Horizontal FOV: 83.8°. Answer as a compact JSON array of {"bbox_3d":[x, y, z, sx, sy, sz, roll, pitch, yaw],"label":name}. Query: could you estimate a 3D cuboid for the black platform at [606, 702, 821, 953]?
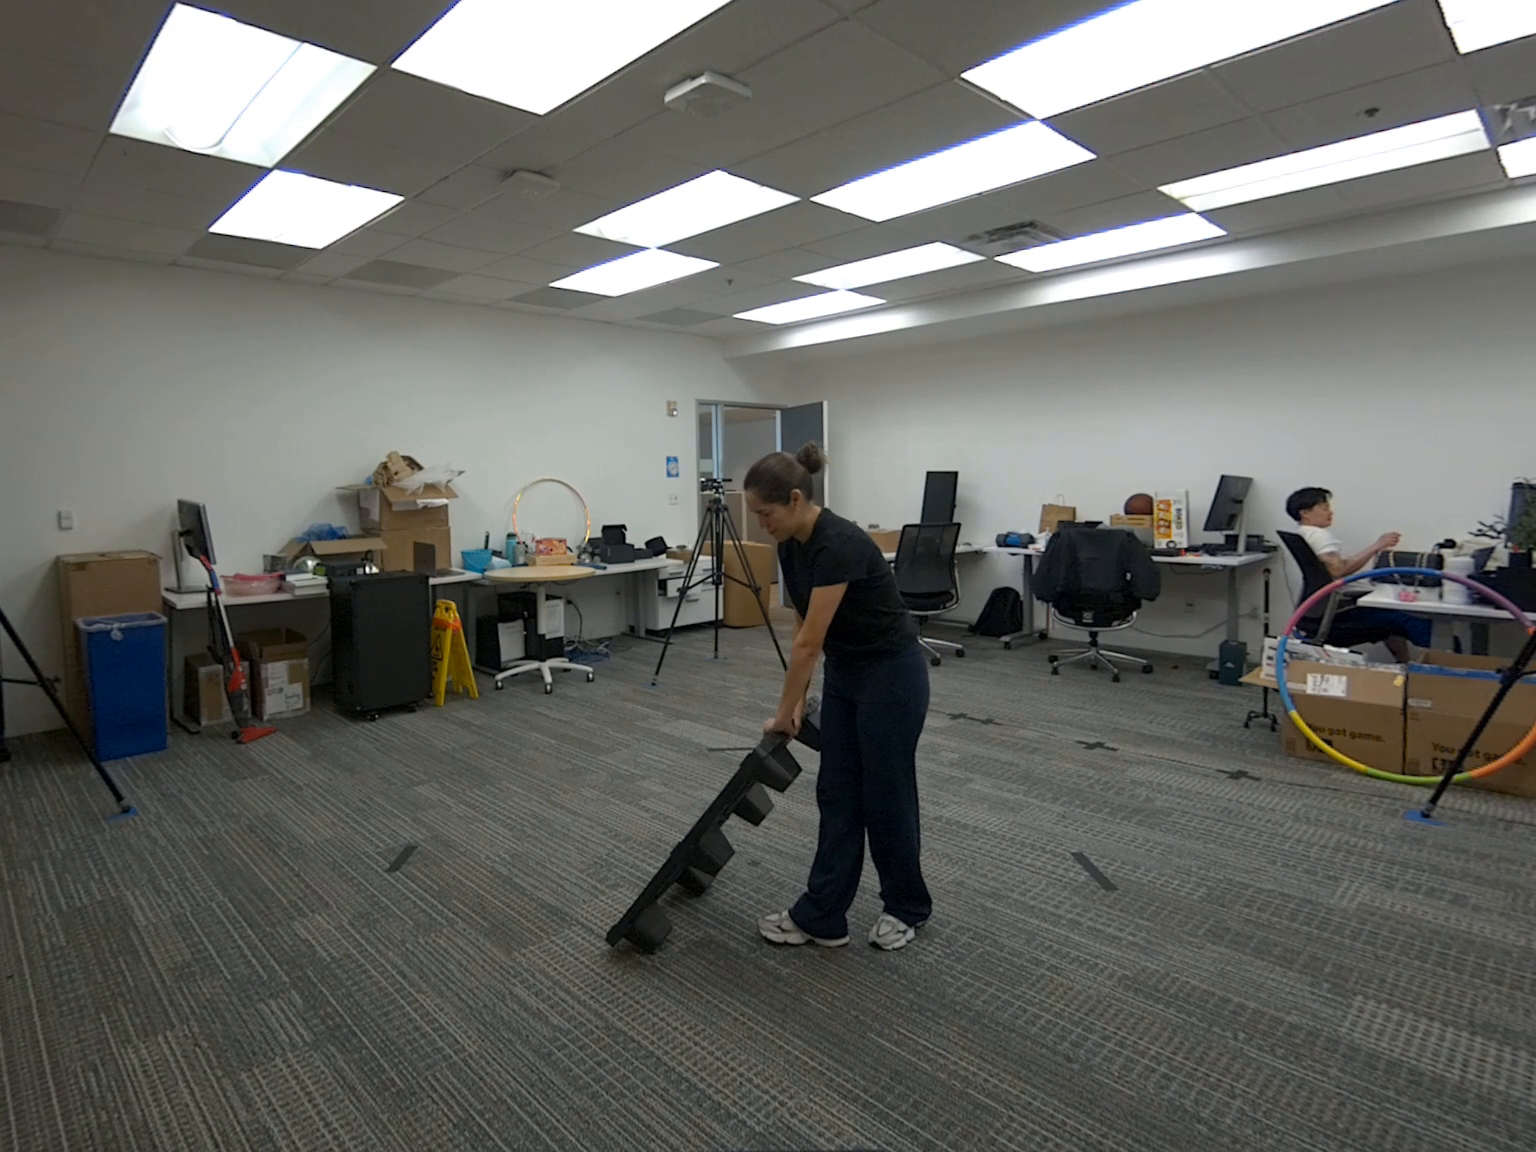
[{"bbox_3d":[-0.110,0.772,2.658,0.146,0.803,0.597,39,16,10],"label":"black platform"}]
